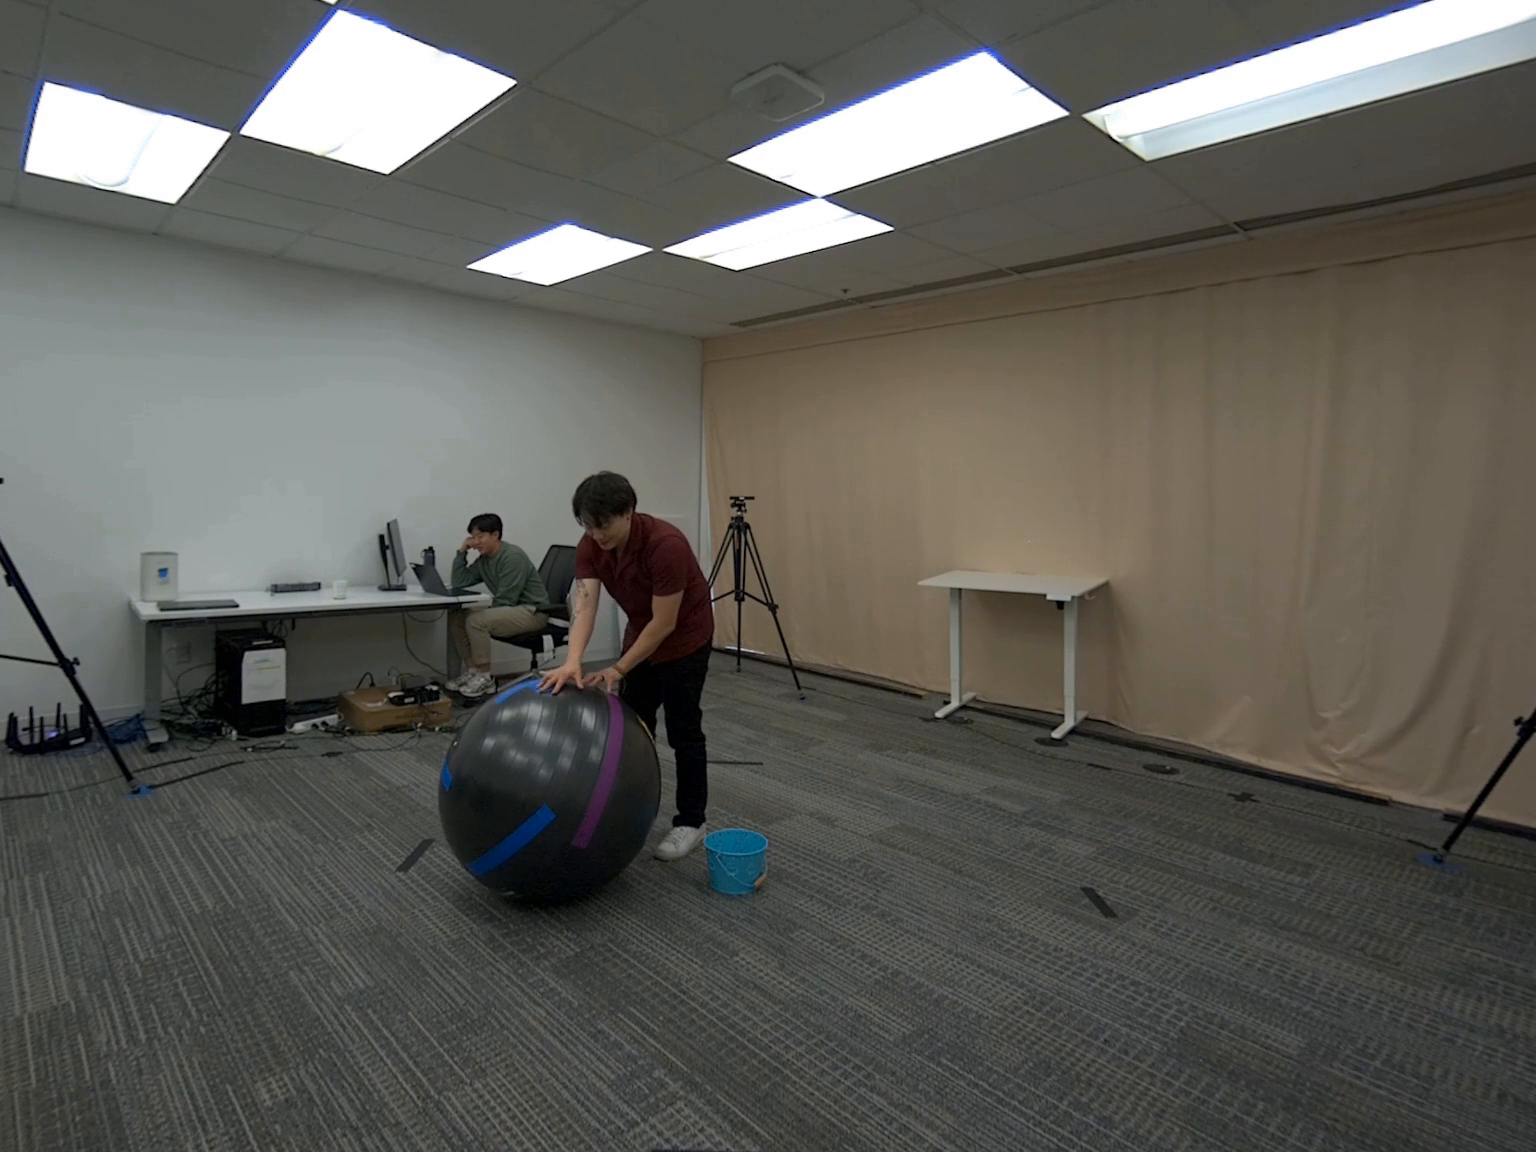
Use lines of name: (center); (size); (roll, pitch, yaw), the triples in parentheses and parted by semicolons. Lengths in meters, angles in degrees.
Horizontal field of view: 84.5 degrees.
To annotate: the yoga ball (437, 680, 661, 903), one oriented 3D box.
yoga ball: (-0.771, 0.751, 2.945); (0.757, 0.756, 0.761); (1, 4, -1)
